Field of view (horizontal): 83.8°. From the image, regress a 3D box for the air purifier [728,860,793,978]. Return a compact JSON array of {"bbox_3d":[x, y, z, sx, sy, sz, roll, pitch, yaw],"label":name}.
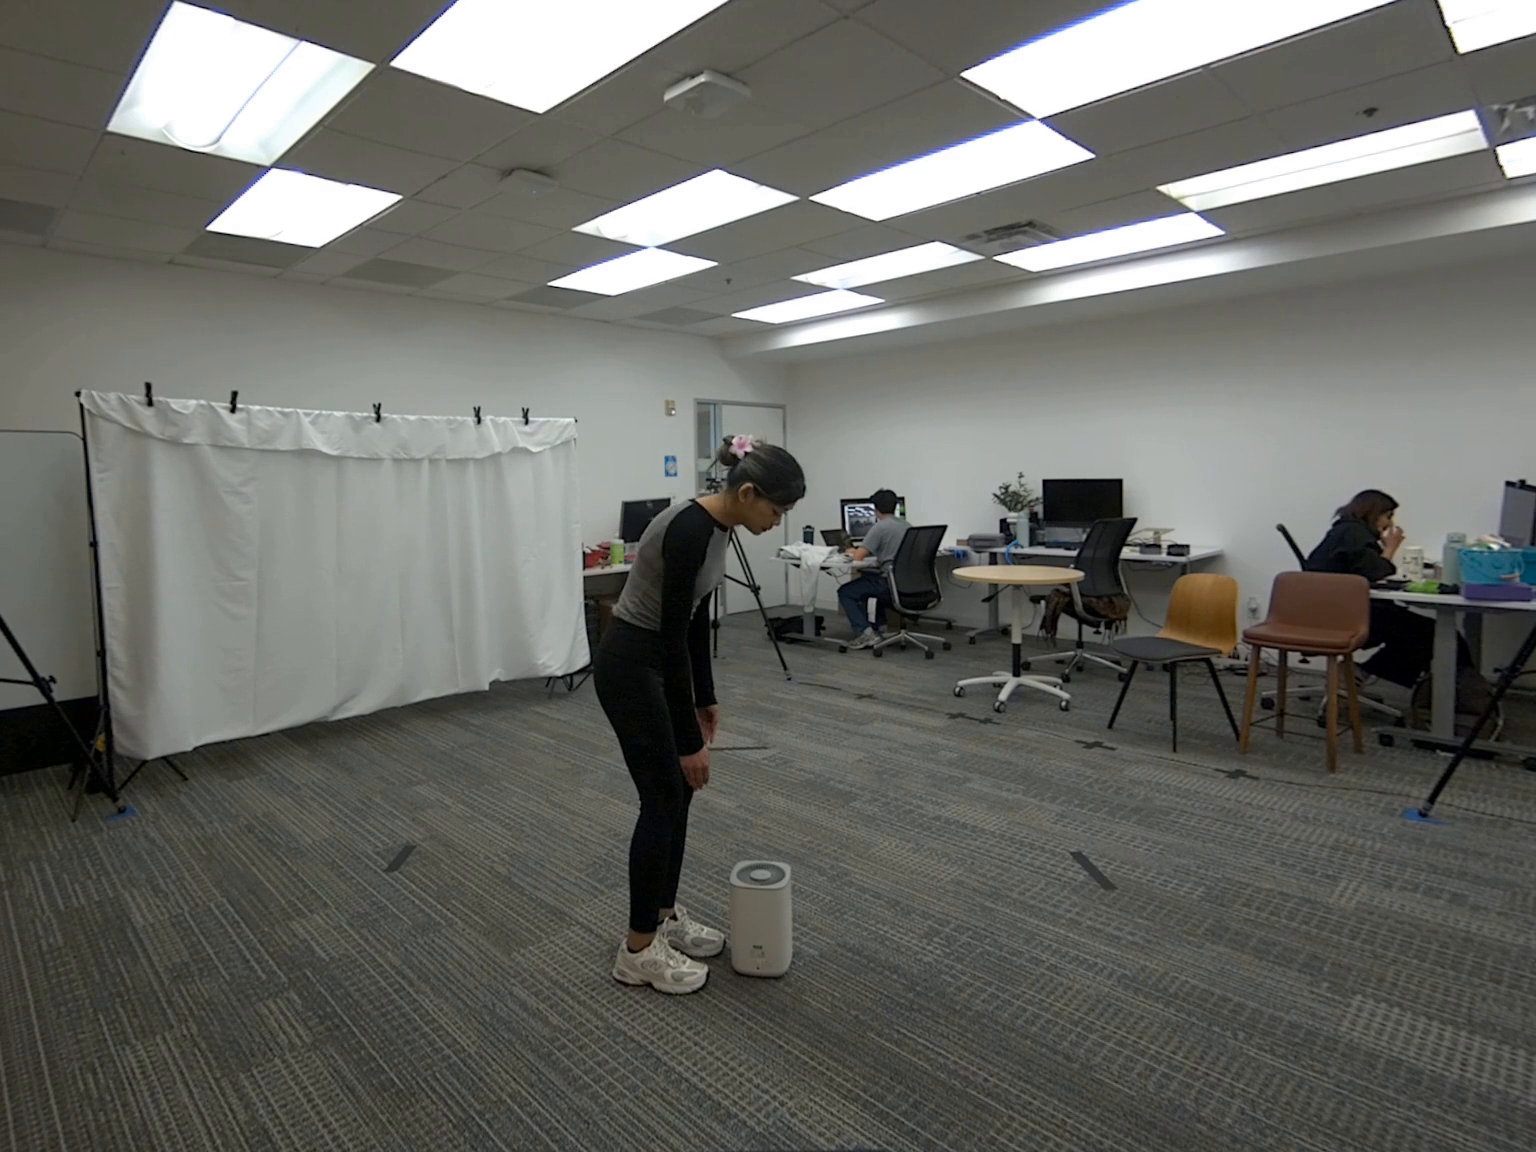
[{"bbox_3d":[-0.023,0.977,2.458,0.173,0.264,0.170,0,4,8],"label":"air purifier"}]
